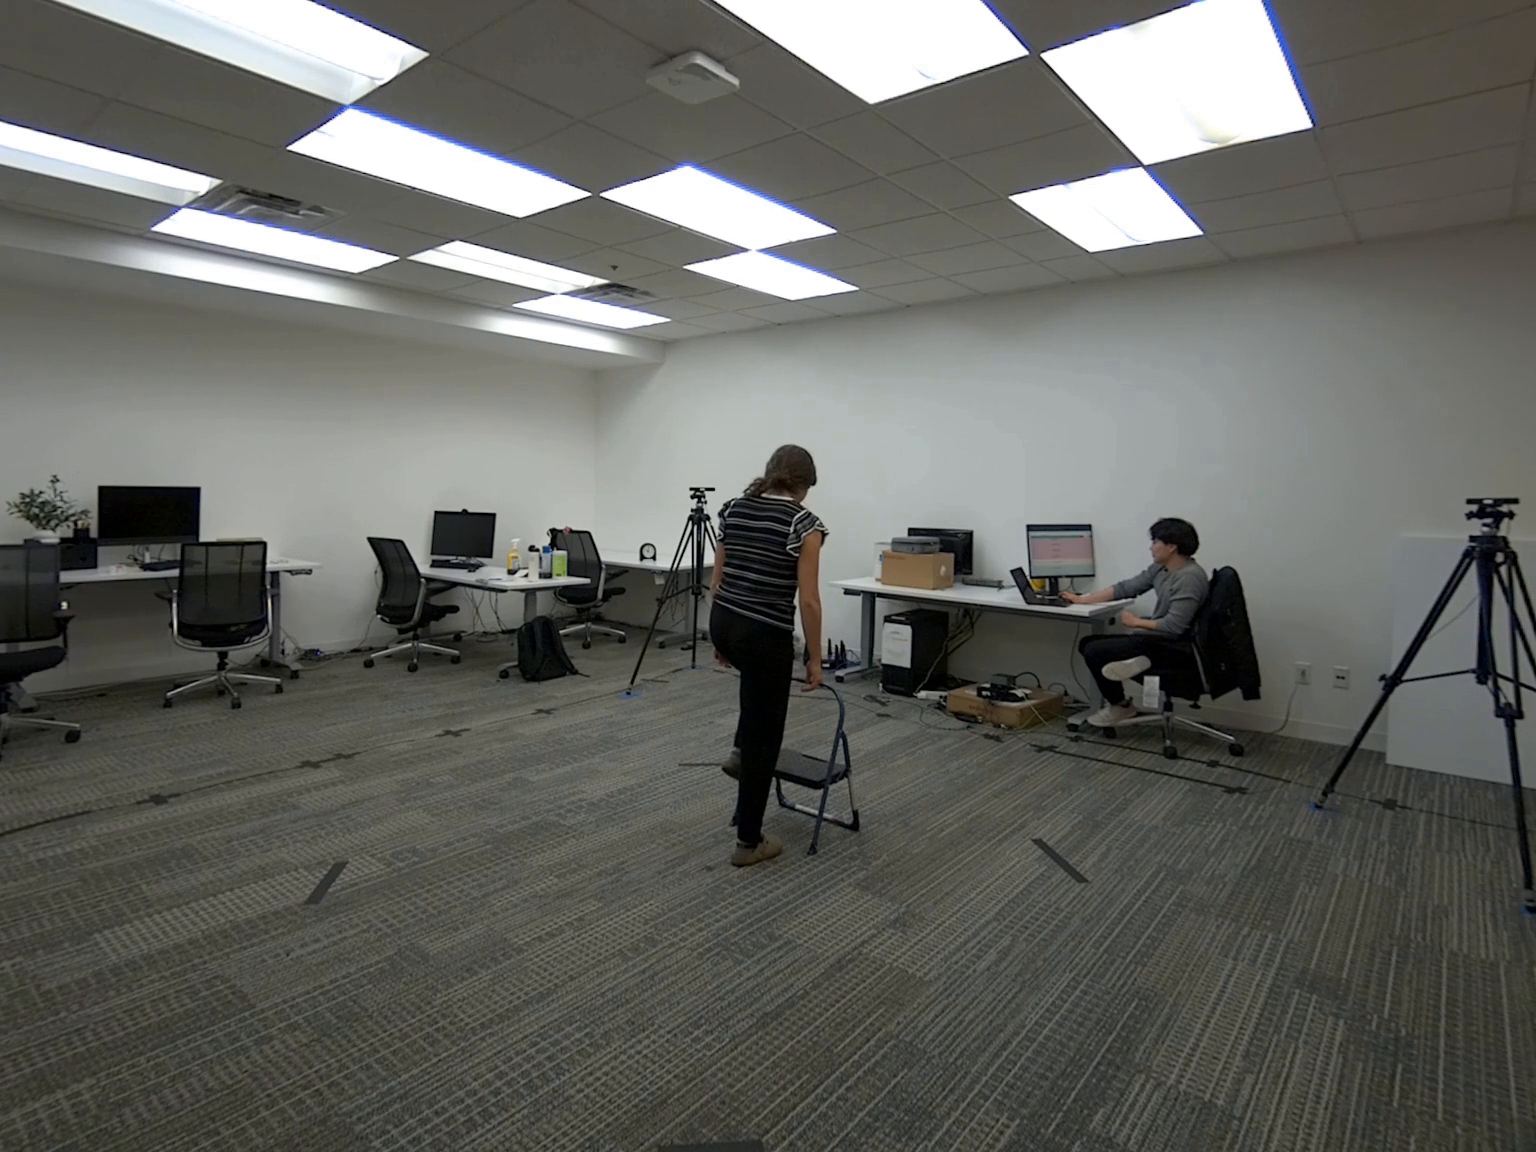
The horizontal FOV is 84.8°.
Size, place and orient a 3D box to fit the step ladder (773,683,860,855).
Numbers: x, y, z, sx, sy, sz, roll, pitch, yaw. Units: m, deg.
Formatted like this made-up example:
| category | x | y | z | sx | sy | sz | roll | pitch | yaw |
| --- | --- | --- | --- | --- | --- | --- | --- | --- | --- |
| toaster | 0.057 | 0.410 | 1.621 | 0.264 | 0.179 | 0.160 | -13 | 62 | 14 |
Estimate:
| category | x | y | z | sx | sy | sz | roll | pitch | yaw |
| --- | --- | --- | --- | --- | --- | --- | --- | --- | --- |
| step ladder | 0.114 | 0.734 | 3.494 | 0.445 | 0.604 | 0.339 | 4 | 5 | 40 |
